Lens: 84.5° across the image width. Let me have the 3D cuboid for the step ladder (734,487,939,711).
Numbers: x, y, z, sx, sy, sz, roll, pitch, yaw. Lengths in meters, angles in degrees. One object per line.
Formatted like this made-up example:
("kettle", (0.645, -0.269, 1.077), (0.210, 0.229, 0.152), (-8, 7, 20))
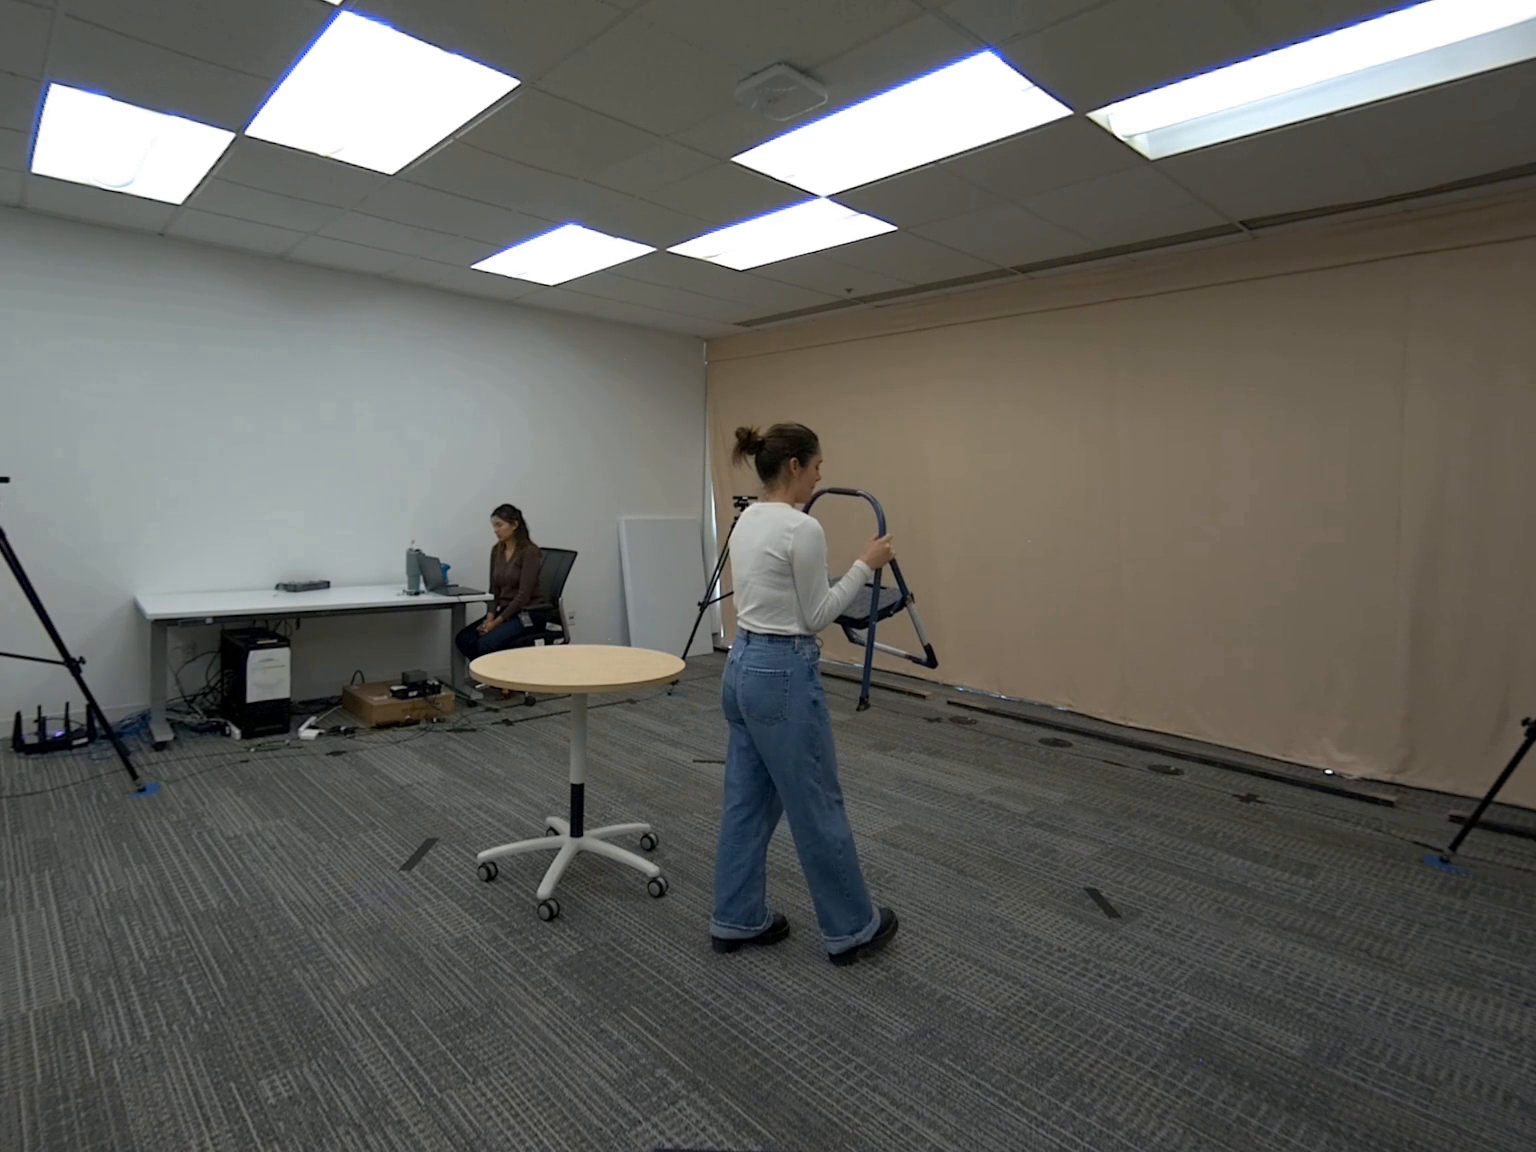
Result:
("step ladder", (0.235, 0.032, 2.681), (0.345, 0.598, 0.442), (-20, 18, -31))
